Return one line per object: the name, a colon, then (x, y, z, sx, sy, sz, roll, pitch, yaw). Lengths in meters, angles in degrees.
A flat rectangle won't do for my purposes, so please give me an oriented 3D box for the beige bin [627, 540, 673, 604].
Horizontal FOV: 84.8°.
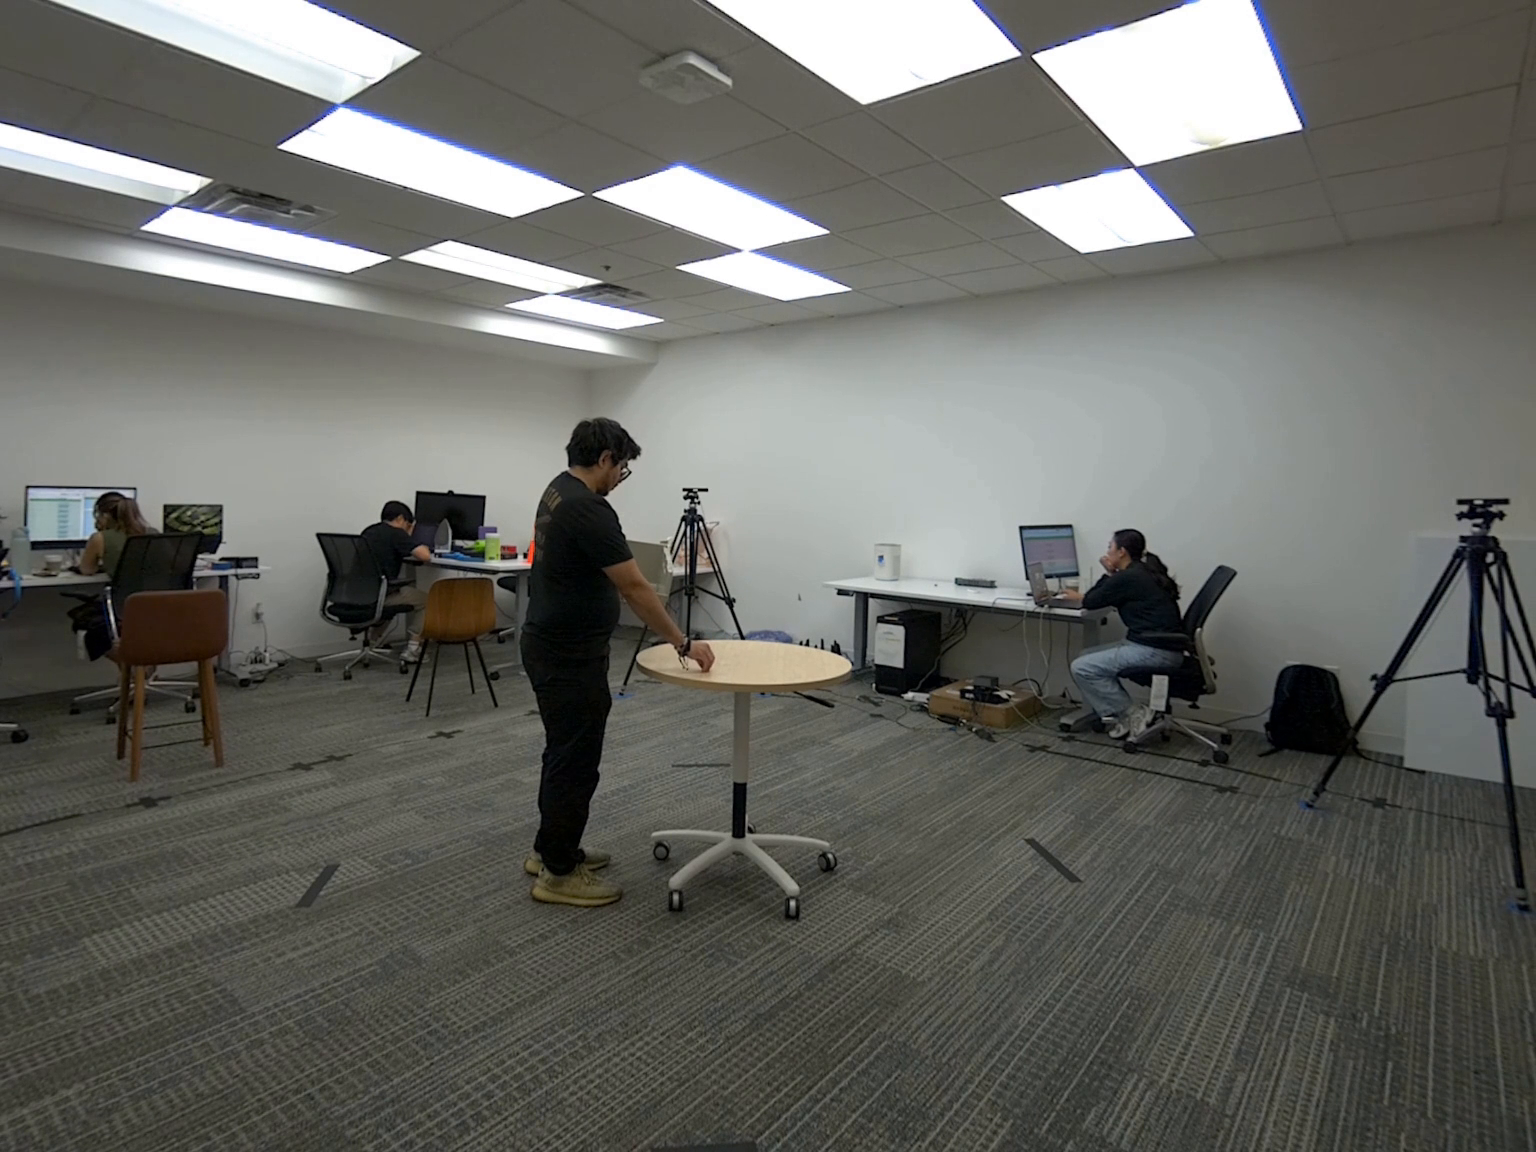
beige bin: (-0.609, -0.019, 3.231, 0.418, 0.187, 0.385, 8, 14, -8)
